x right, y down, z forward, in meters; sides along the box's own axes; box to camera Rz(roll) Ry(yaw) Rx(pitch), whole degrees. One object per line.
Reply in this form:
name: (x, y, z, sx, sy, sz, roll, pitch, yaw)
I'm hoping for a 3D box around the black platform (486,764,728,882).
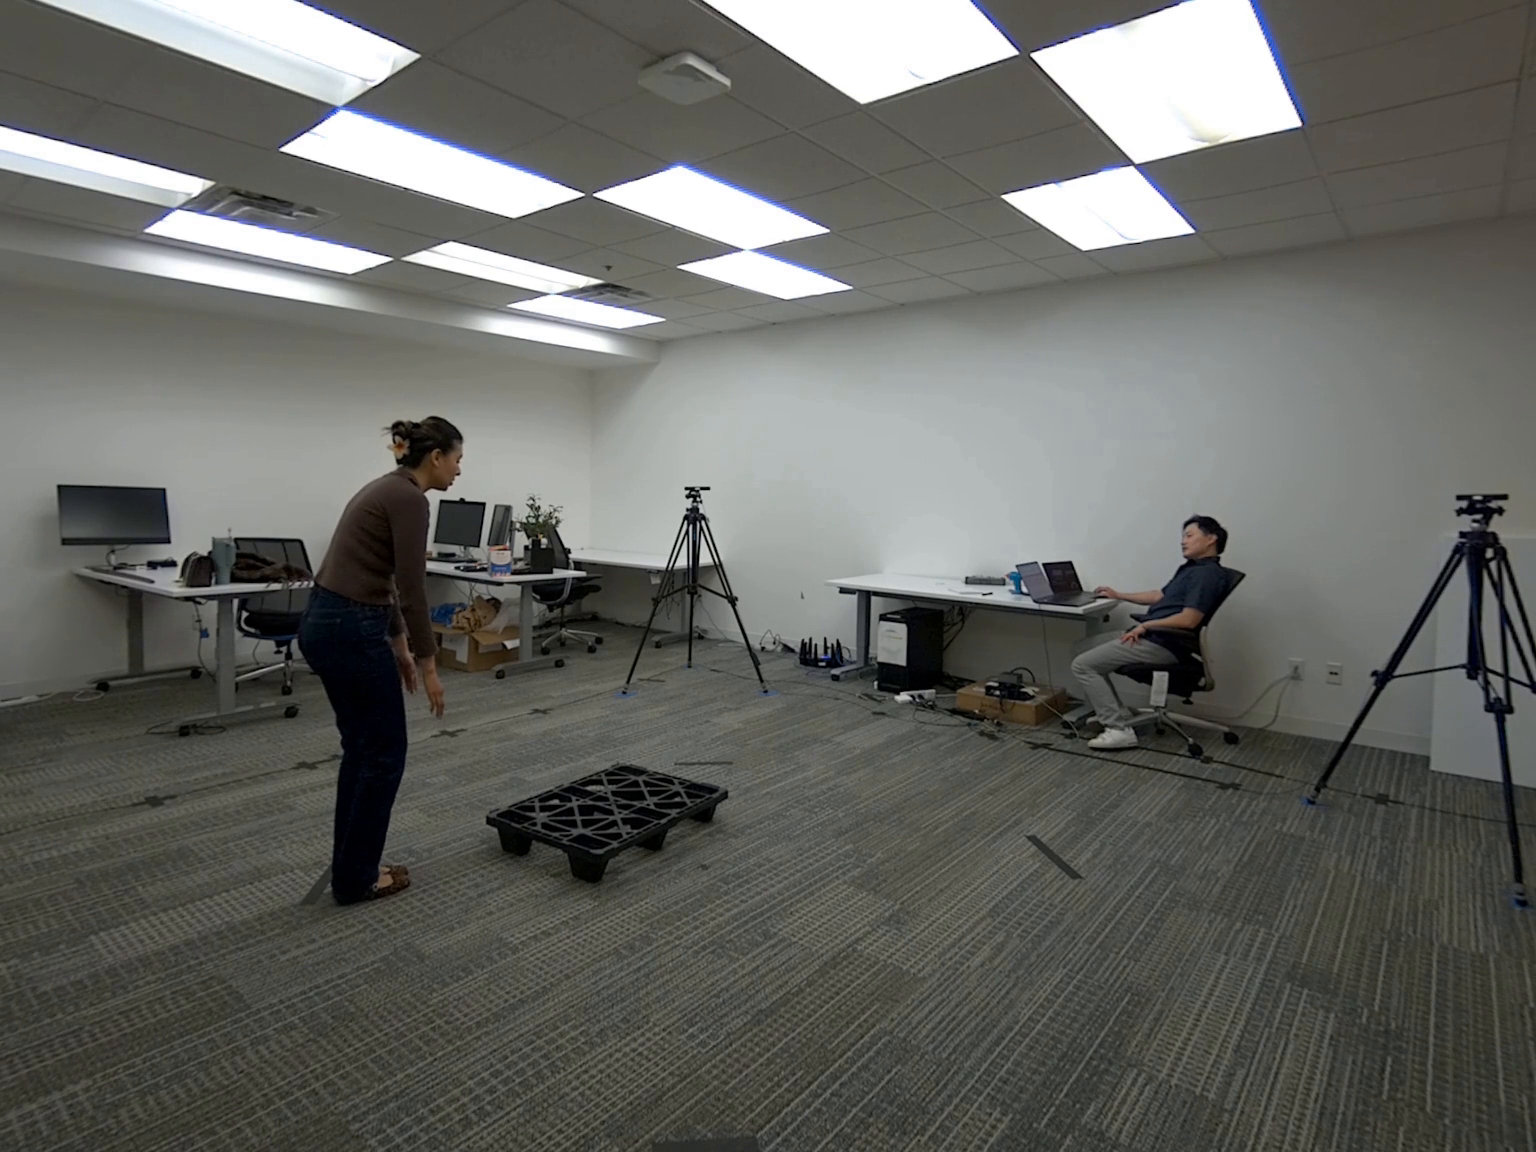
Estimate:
black platform: (-0.636, 0.964, 3.399, 0.624, 0.143, 0.784, 3, 6, 33)
